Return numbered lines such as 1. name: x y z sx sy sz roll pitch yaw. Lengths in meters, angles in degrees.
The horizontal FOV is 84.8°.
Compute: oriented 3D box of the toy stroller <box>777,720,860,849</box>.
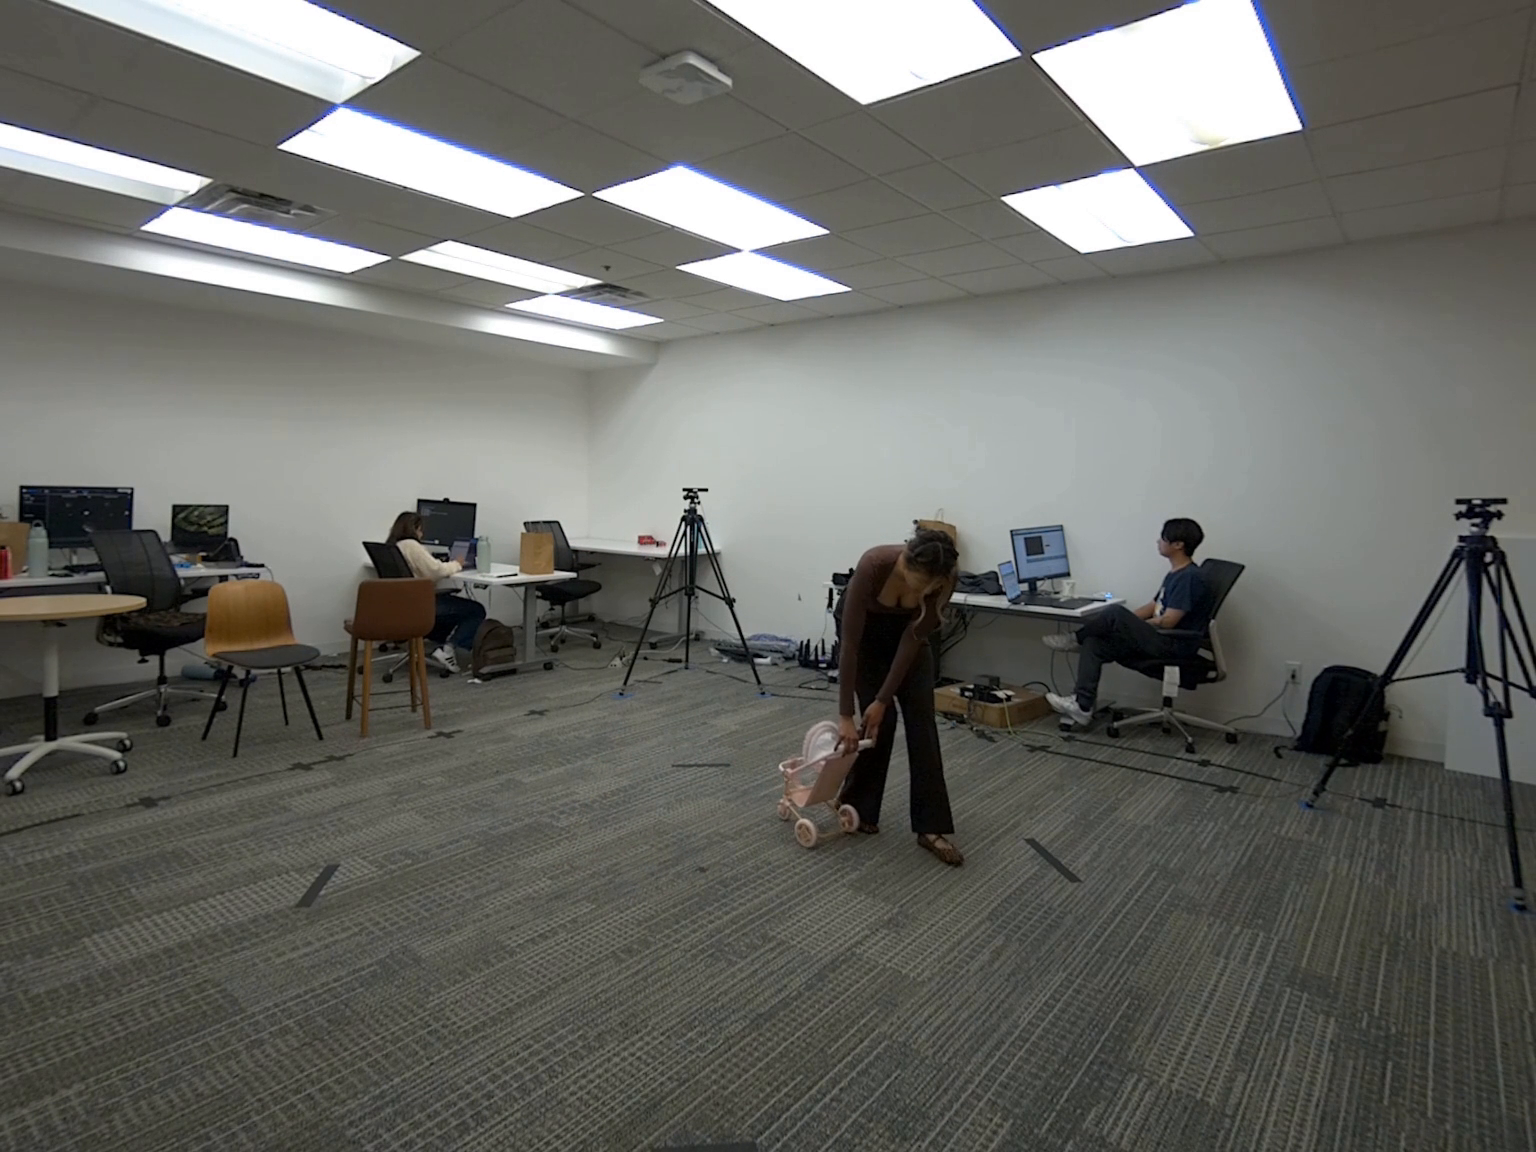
1. toy stroller: 0.193 0.820 3.447 0.273 0.529 0.356 0 20 -37
